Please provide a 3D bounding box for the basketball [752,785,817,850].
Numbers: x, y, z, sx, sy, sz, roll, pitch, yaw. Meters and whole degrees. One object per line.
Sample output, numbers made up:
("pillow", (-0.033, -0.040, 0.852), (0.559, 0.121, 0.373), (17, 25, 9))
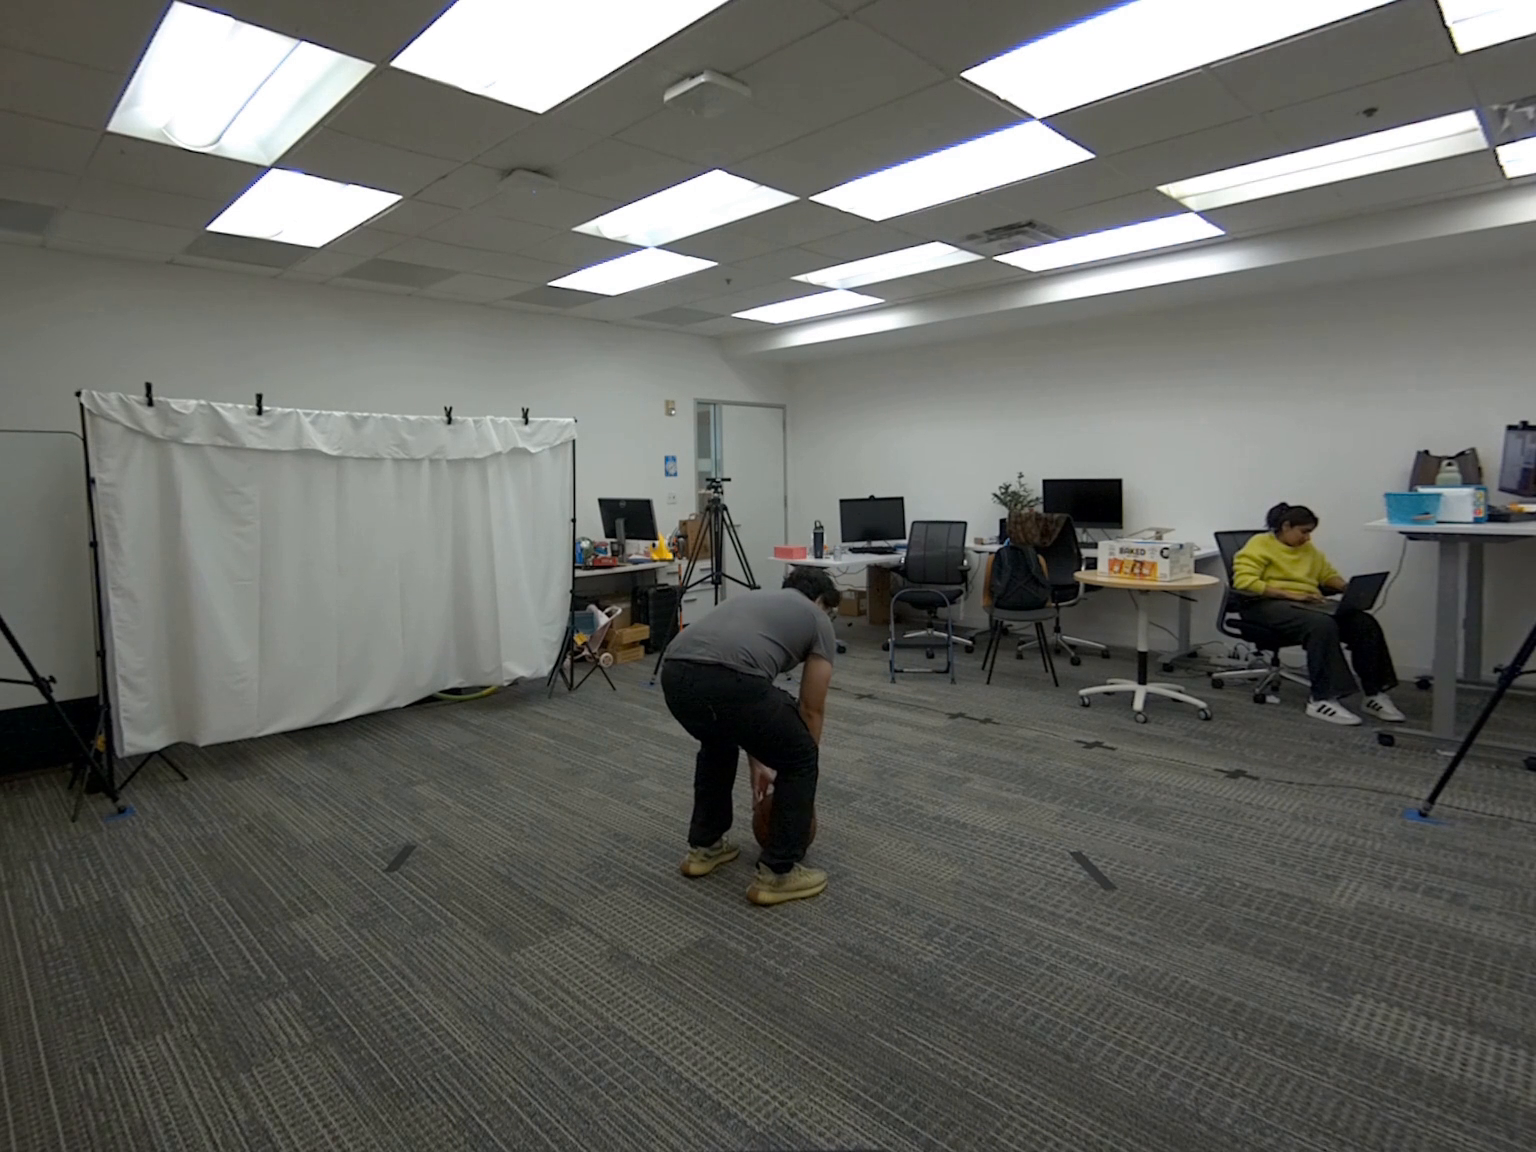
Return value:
("basketball", (0.063, 0.897, 3.160), (0.236, 0.235, 0.237), (-1, 5, -2))
